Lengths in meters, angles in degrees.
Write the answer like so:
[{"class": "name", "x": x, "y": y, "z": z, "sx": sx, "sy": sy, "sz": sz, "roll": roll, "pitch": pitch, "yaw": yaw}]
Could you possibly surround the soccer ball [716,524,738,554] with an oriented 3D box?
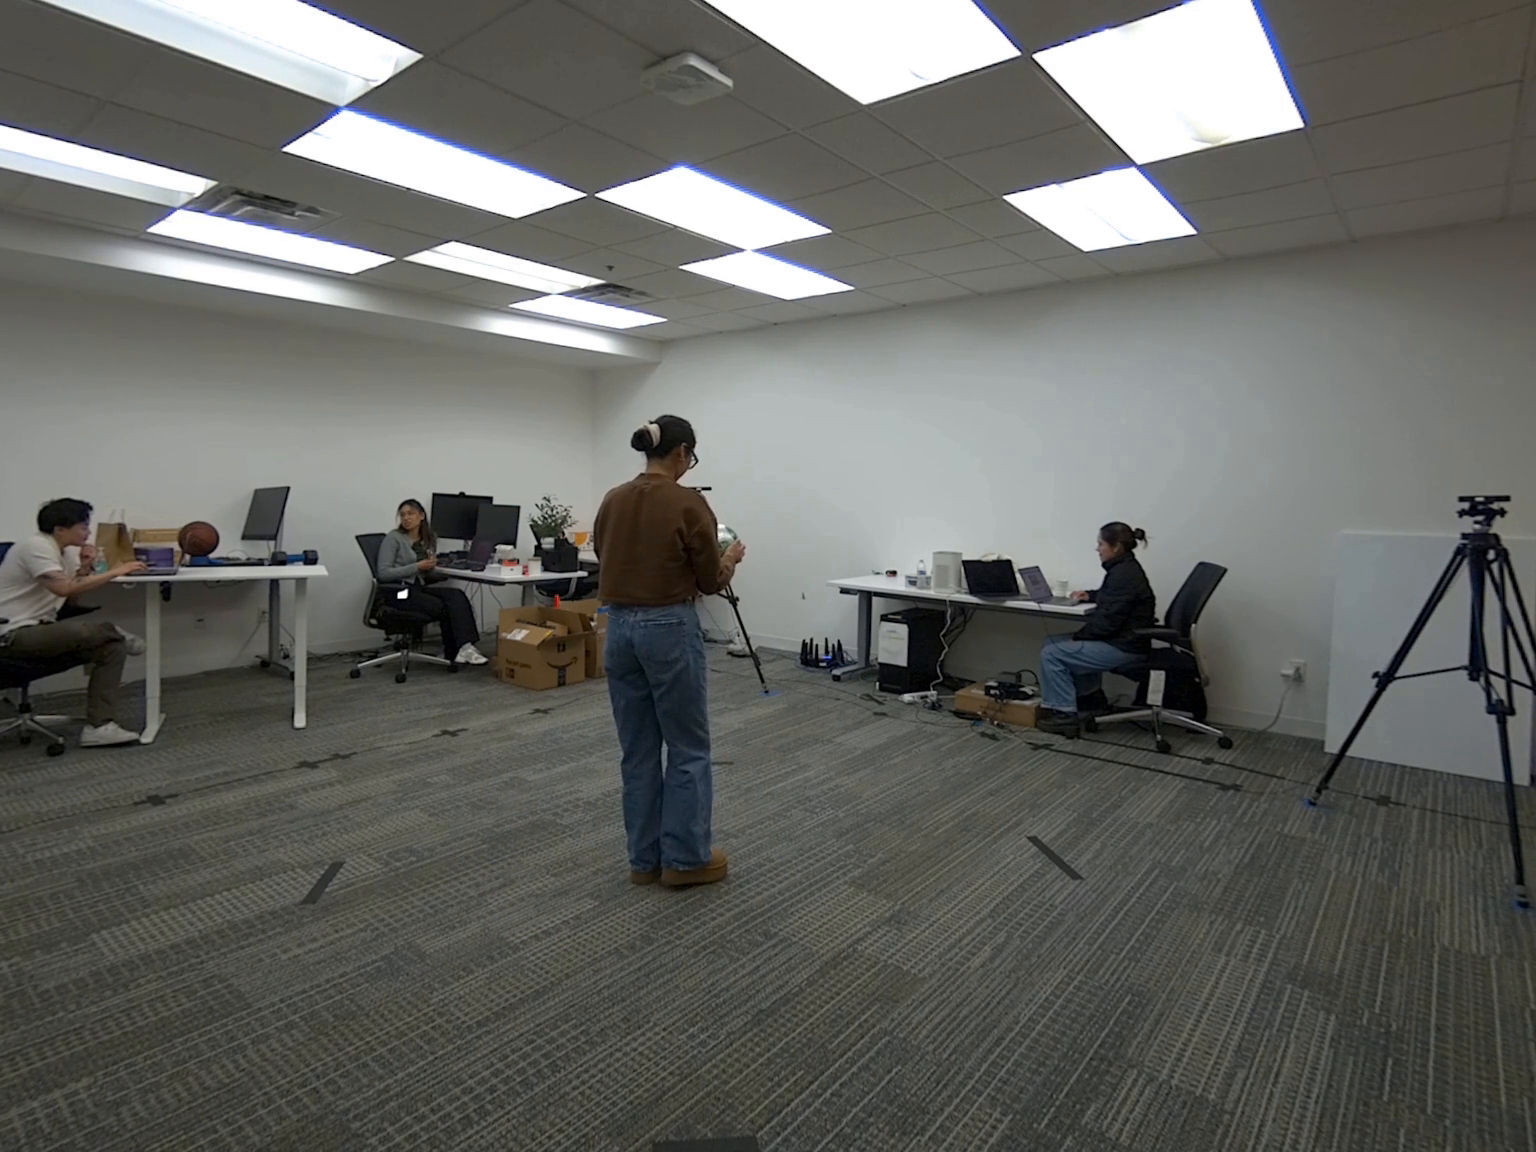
[{"class": "soccer ball", "x": -0.207, "y": -0.112, "z": 3.294, "sx": 0.187, "sy": 0.187, "sz": 0.188, "roll": 1, "pitch": 4, "yaw": -2}]
